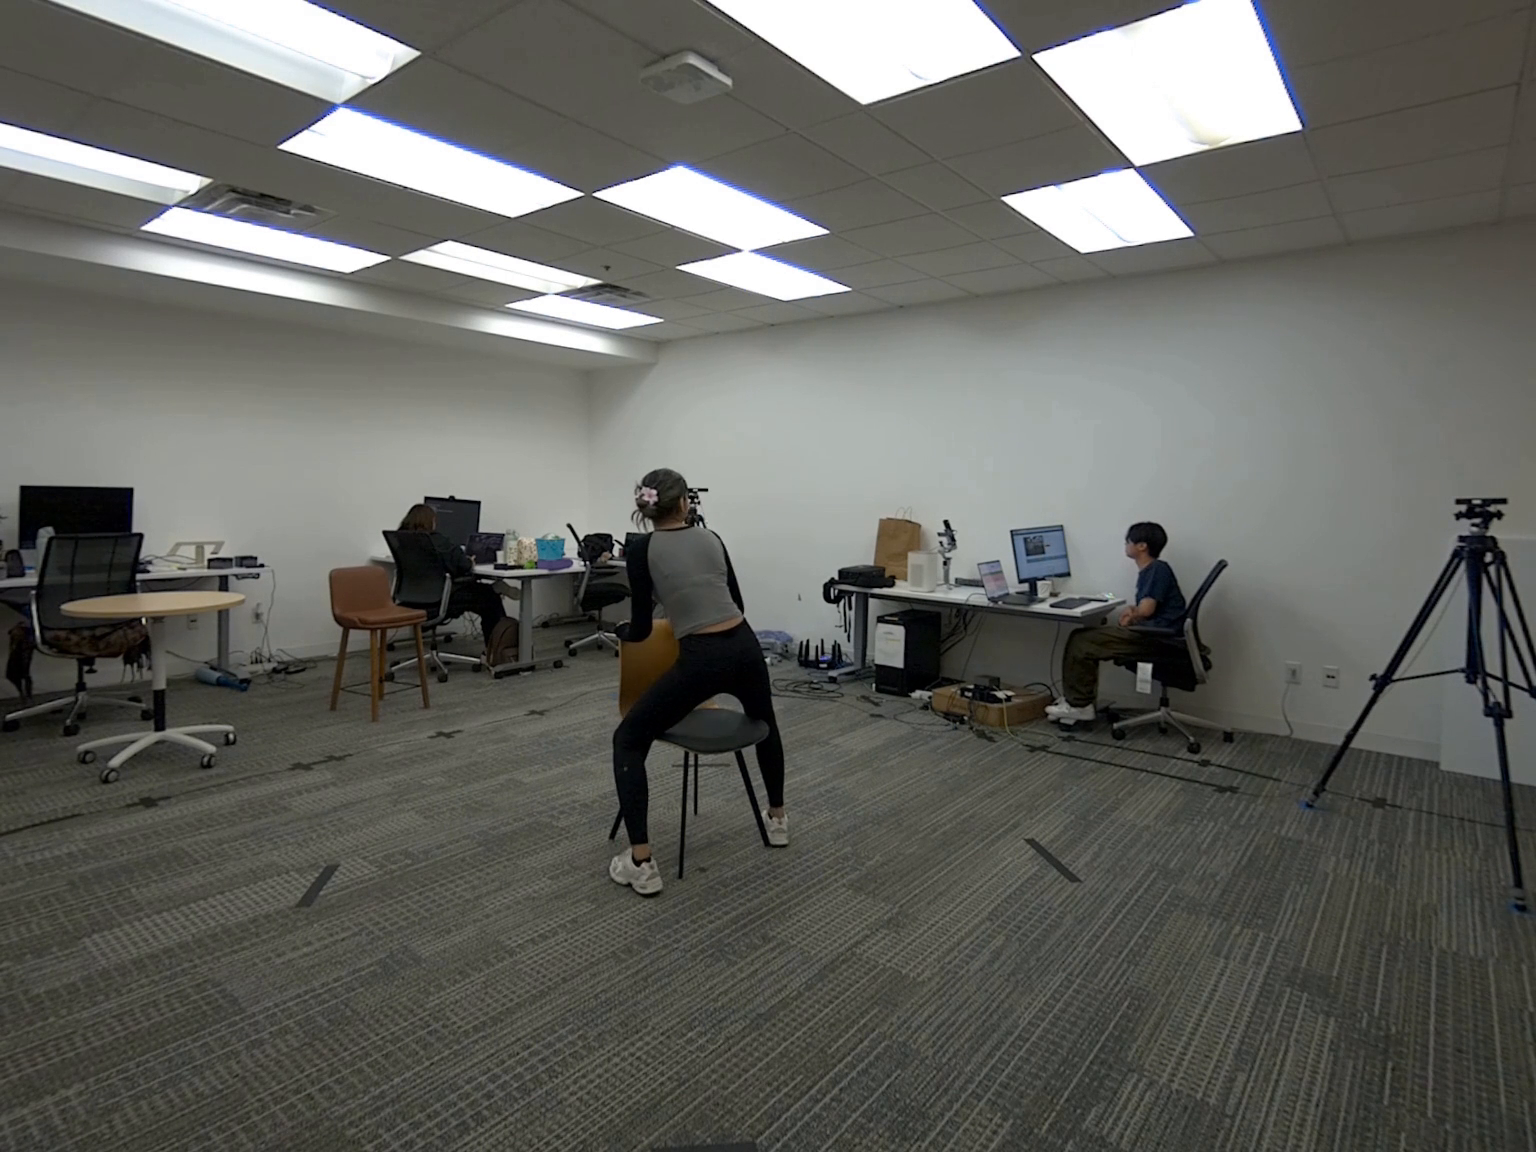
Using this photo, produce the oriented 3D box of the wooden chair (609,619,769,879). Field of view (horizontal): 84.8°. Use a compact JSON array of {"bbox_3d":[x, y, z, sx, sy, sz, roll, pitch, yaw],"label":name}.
[{"bbox_3d":[-0.303,0.621,3.306,0.463,0.878,0.539,-1,0,-42],"label":"wooden chair"}]
